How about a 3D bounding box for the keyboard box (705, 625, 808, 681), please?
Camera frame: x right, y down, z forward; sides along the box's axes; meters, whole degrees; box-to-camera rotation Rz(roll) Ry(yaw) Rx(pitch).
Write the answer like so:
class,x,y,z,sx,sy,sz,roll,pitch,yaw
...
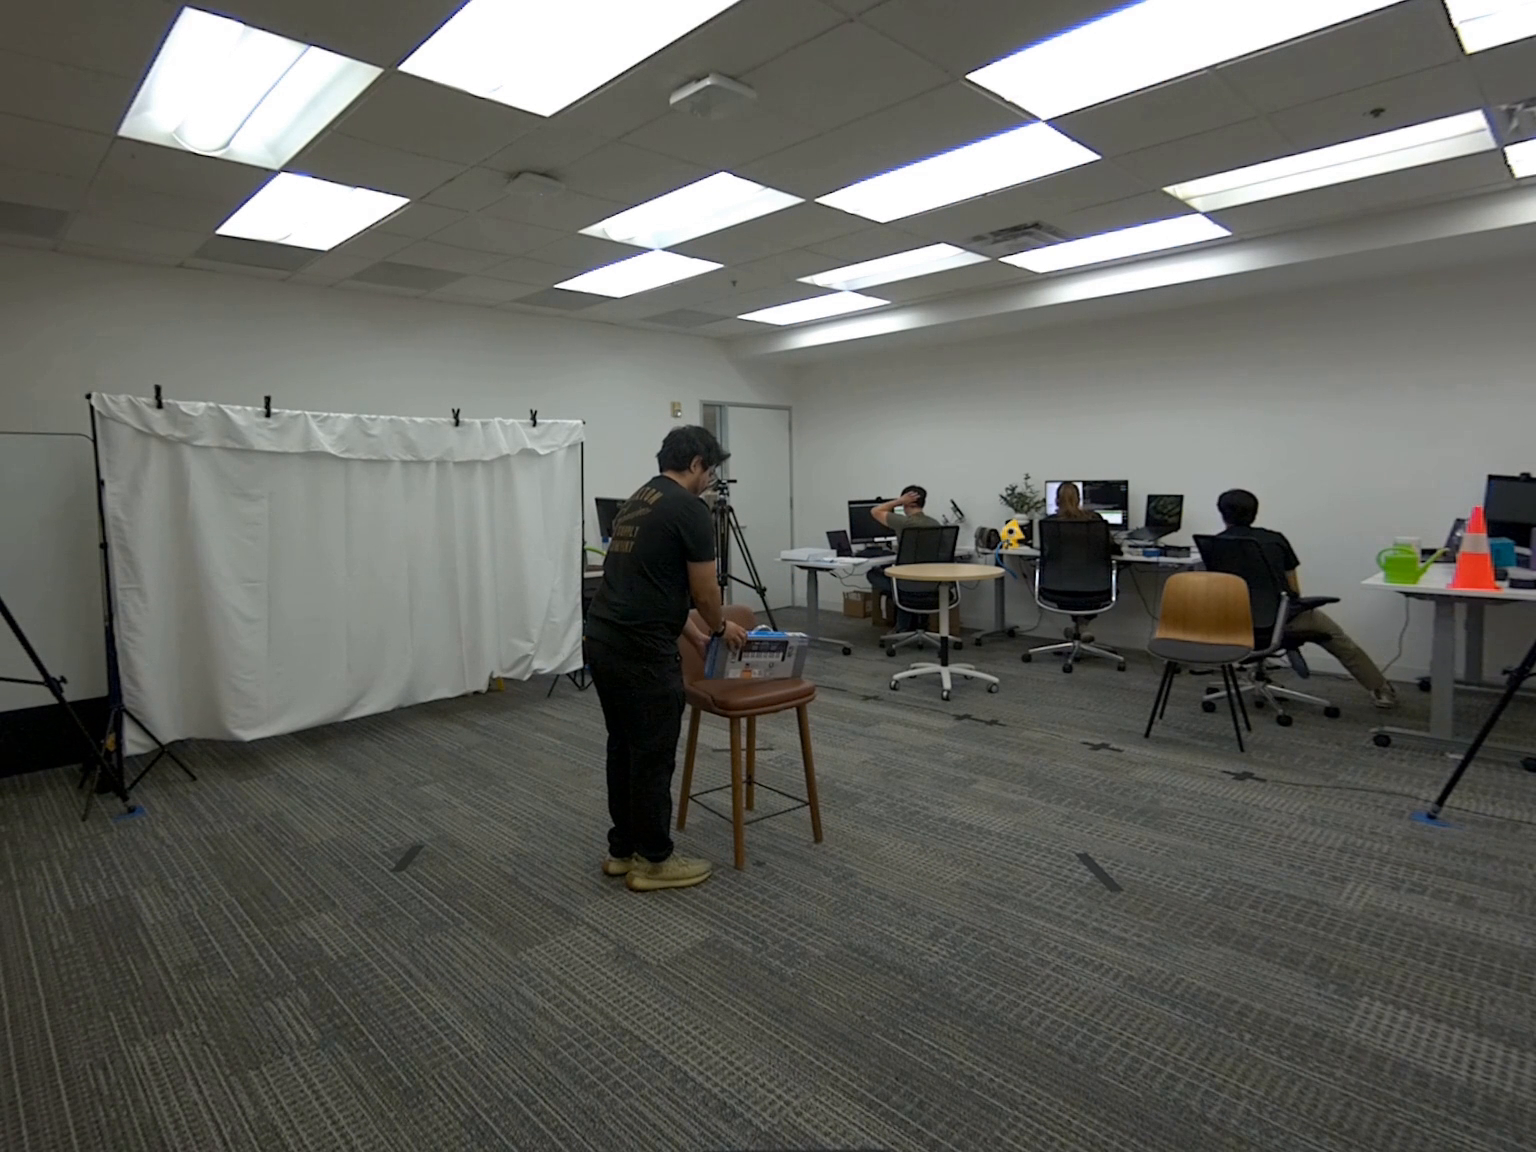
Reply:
class,x,y,z,sx,sy,sz,roll,pitch,yaw
keyboard box,-0.034,0.304,3.281,0.424,0.175,0.061,5,9,-36
